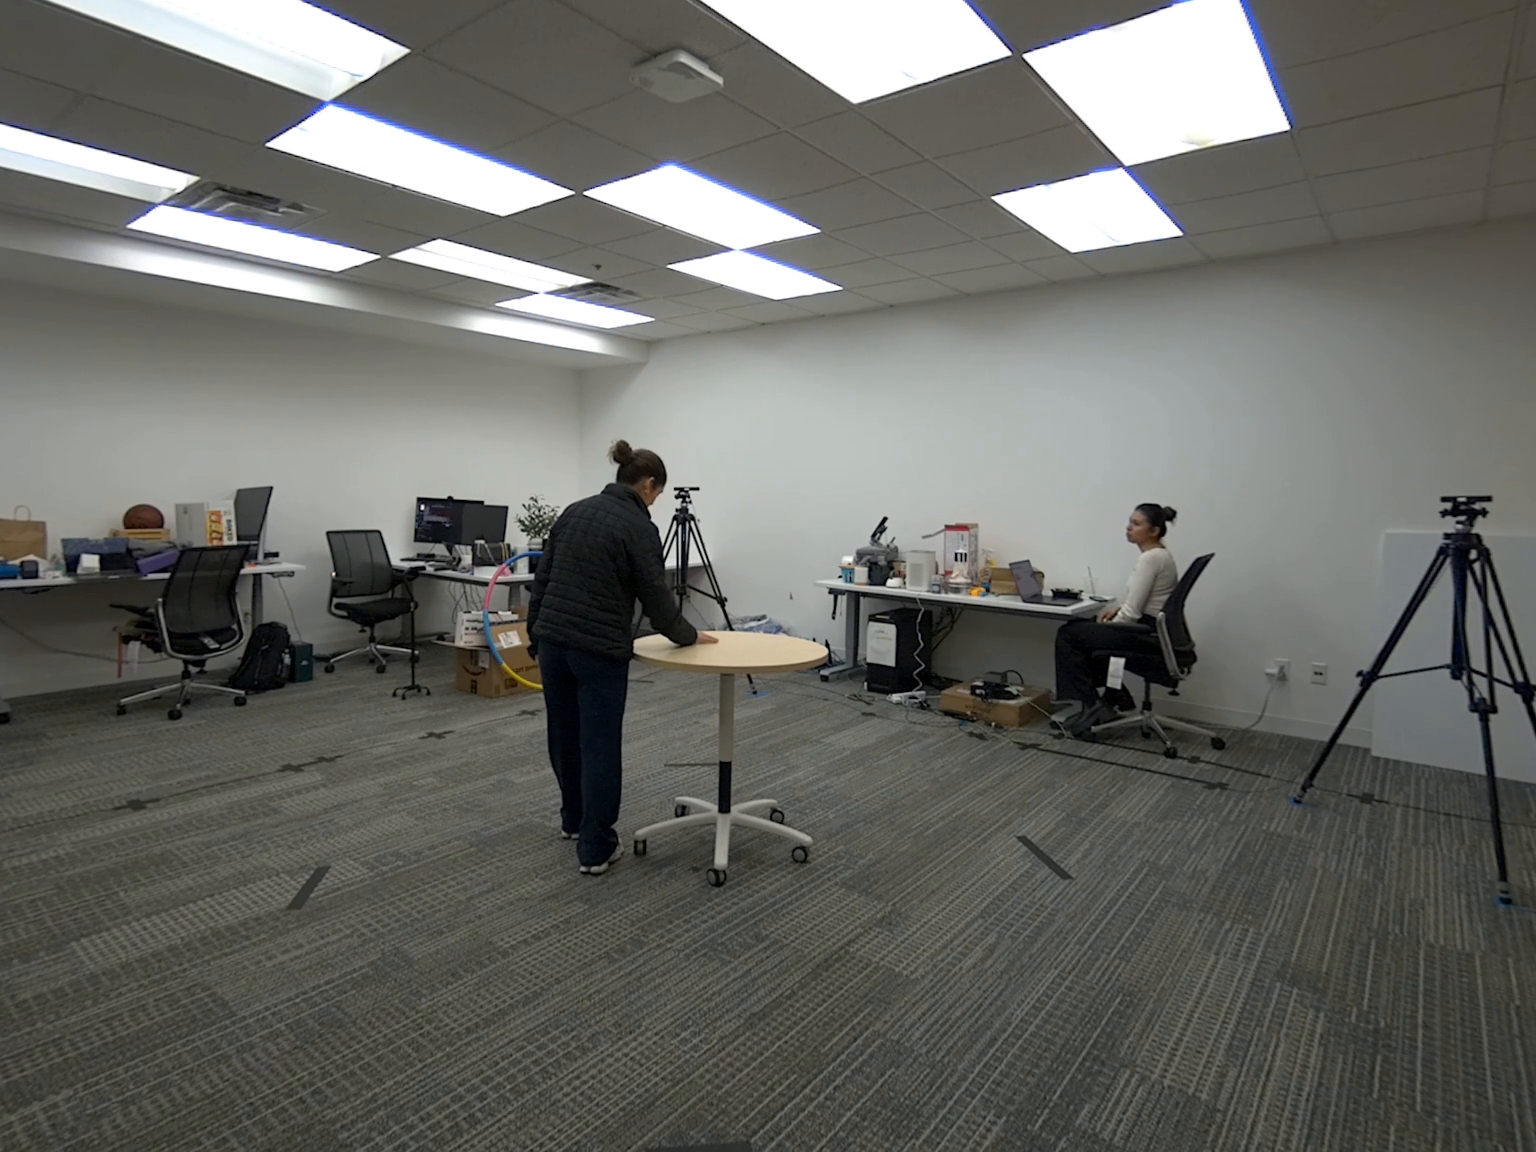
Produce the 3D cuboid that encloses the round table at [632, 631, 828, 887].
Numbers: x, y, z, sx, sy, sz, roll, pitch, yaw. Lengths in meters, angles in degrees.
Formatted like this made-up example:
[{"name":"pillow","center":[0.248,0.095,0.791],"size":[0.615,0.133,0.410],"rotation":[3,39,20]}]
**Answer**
[{"name":"round table","center":[-0.135,0.659,3.283],"size":[0.784,0.784,0.789],"rotation":[1,4,-2]}]
